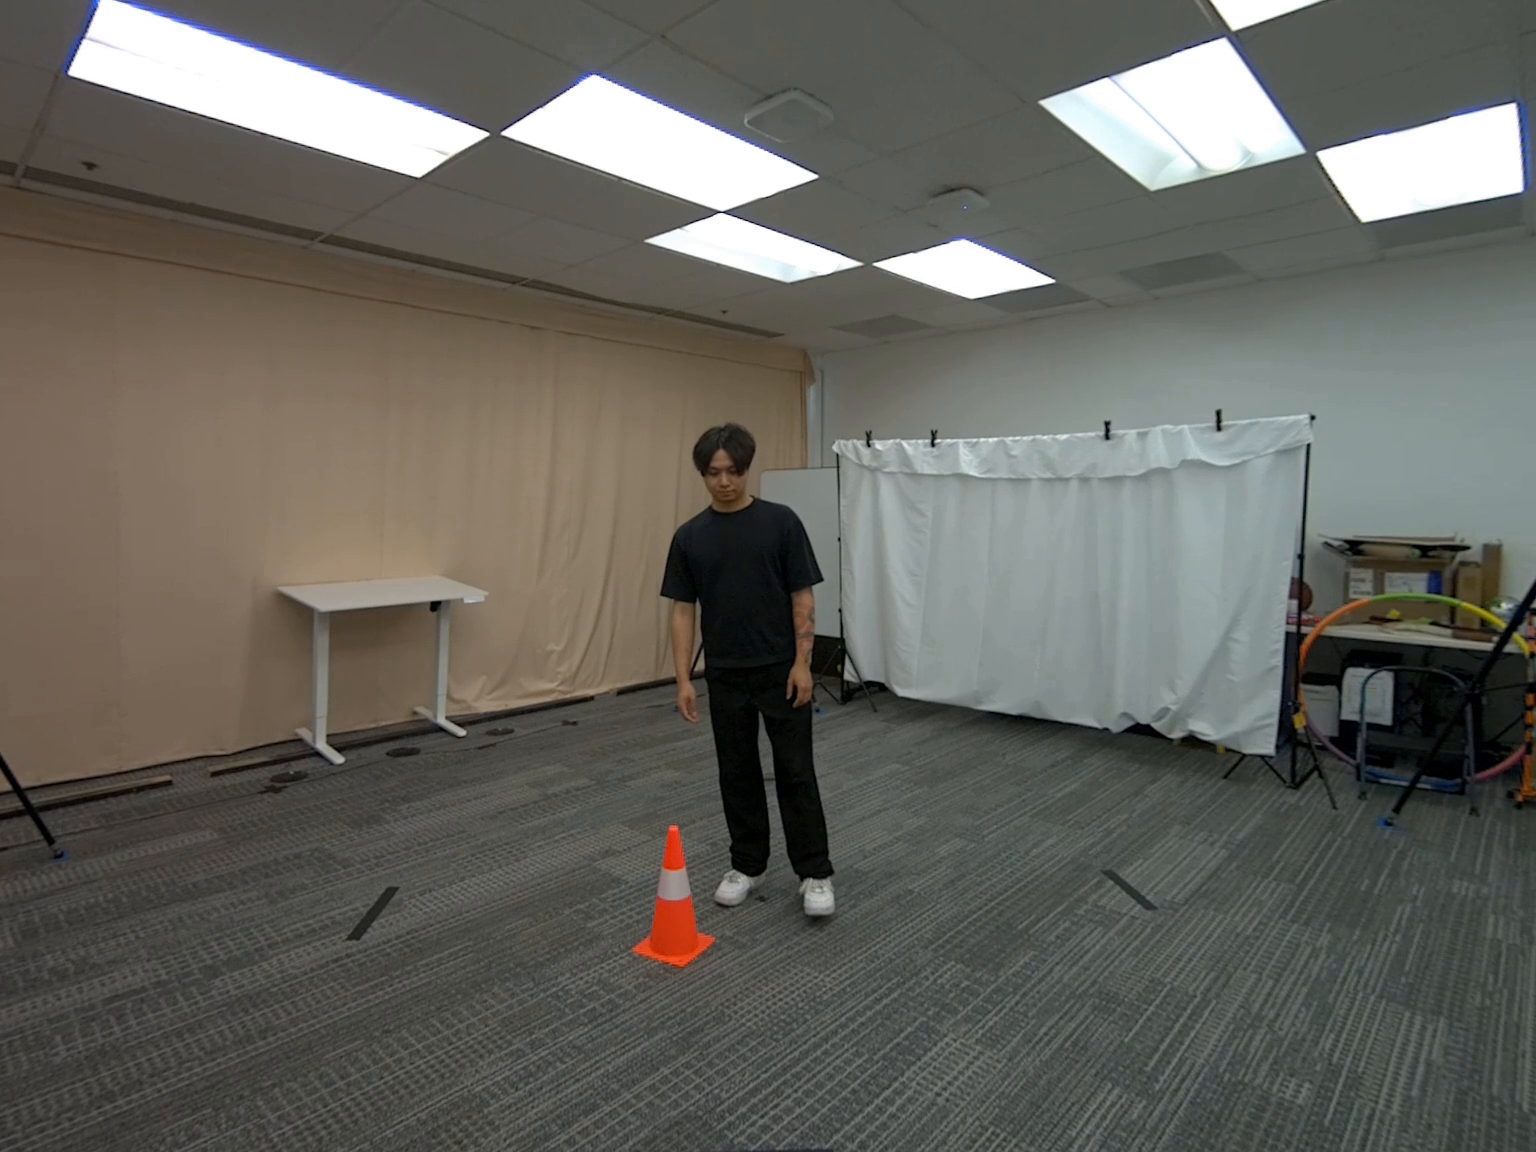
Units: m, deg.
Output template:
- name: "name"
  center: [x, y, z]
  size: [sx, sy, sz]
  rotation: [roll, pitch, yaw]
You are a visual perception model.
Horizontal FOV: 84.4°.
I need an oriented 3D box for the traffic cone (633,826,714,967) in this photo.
- name: "traffic cone"
  center: [-0.299, 0.988, 2.656]
  size: [0.209, 0.383, 0.199]
  rotation: [1, 4, 33]
